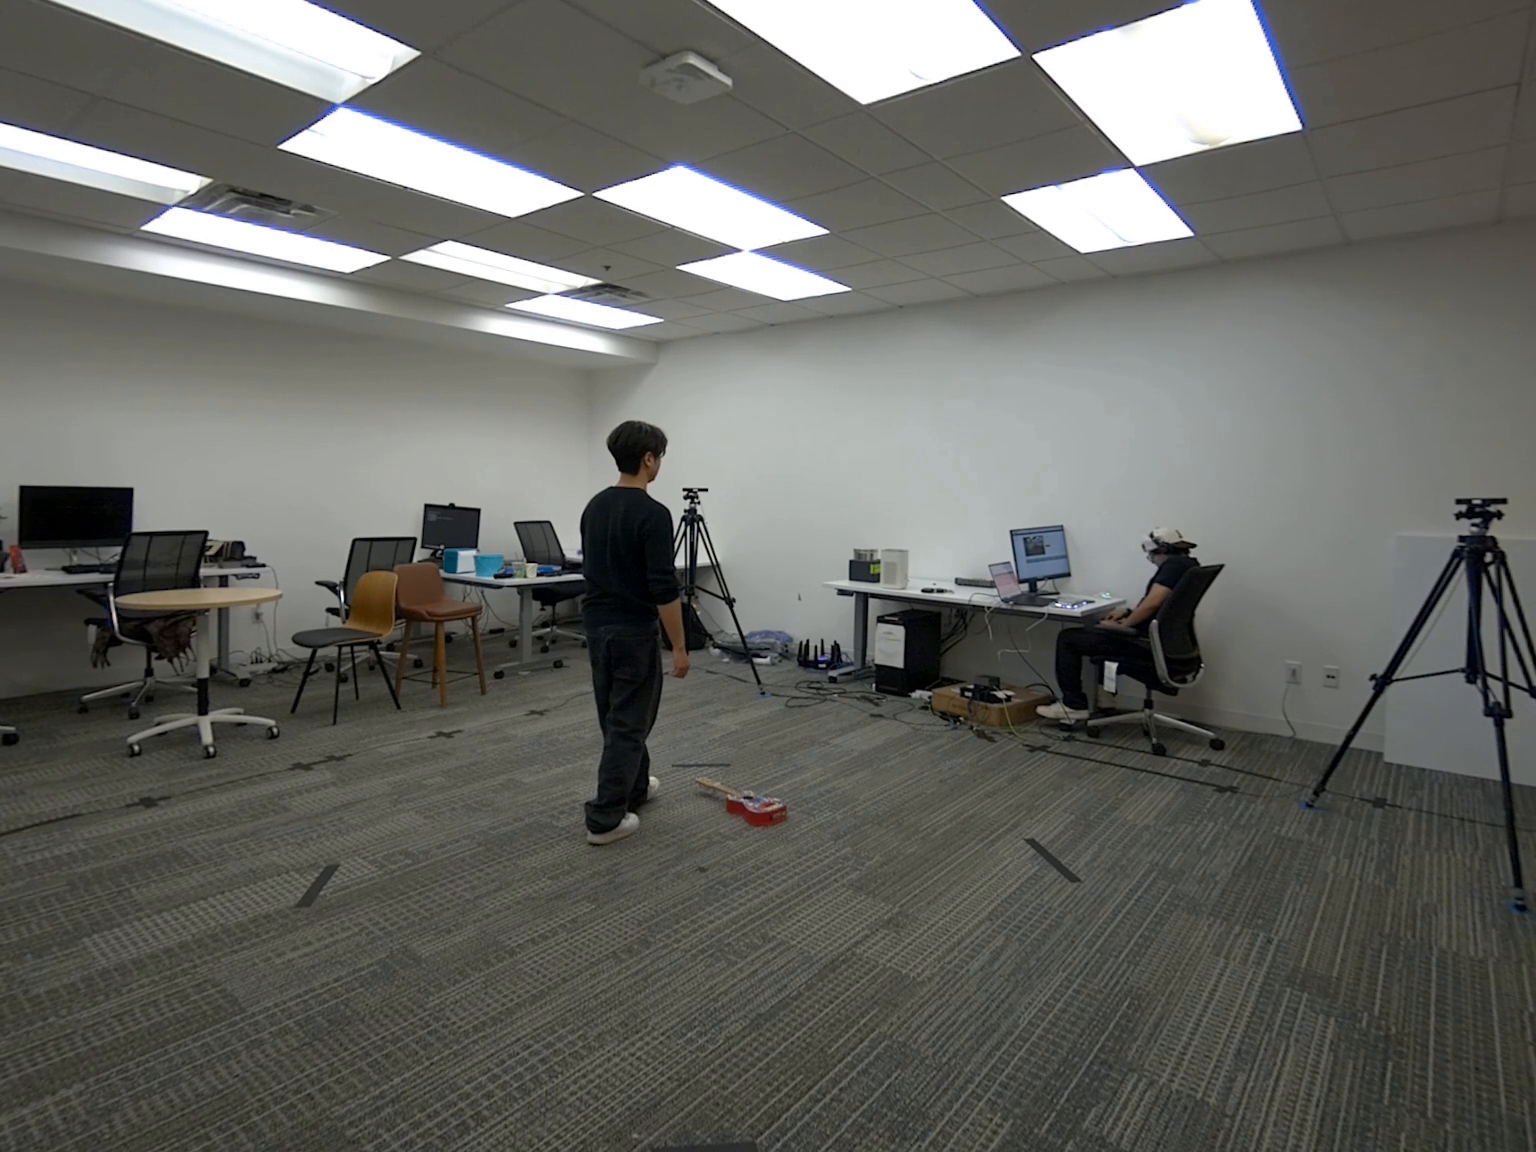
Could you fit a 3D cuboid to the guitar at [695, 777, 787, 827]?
[{"bbox_3d":[-0.130,0.981,3.753,0.187,0.070,0.515,-3,7,-37],"label":"guitar"}]
